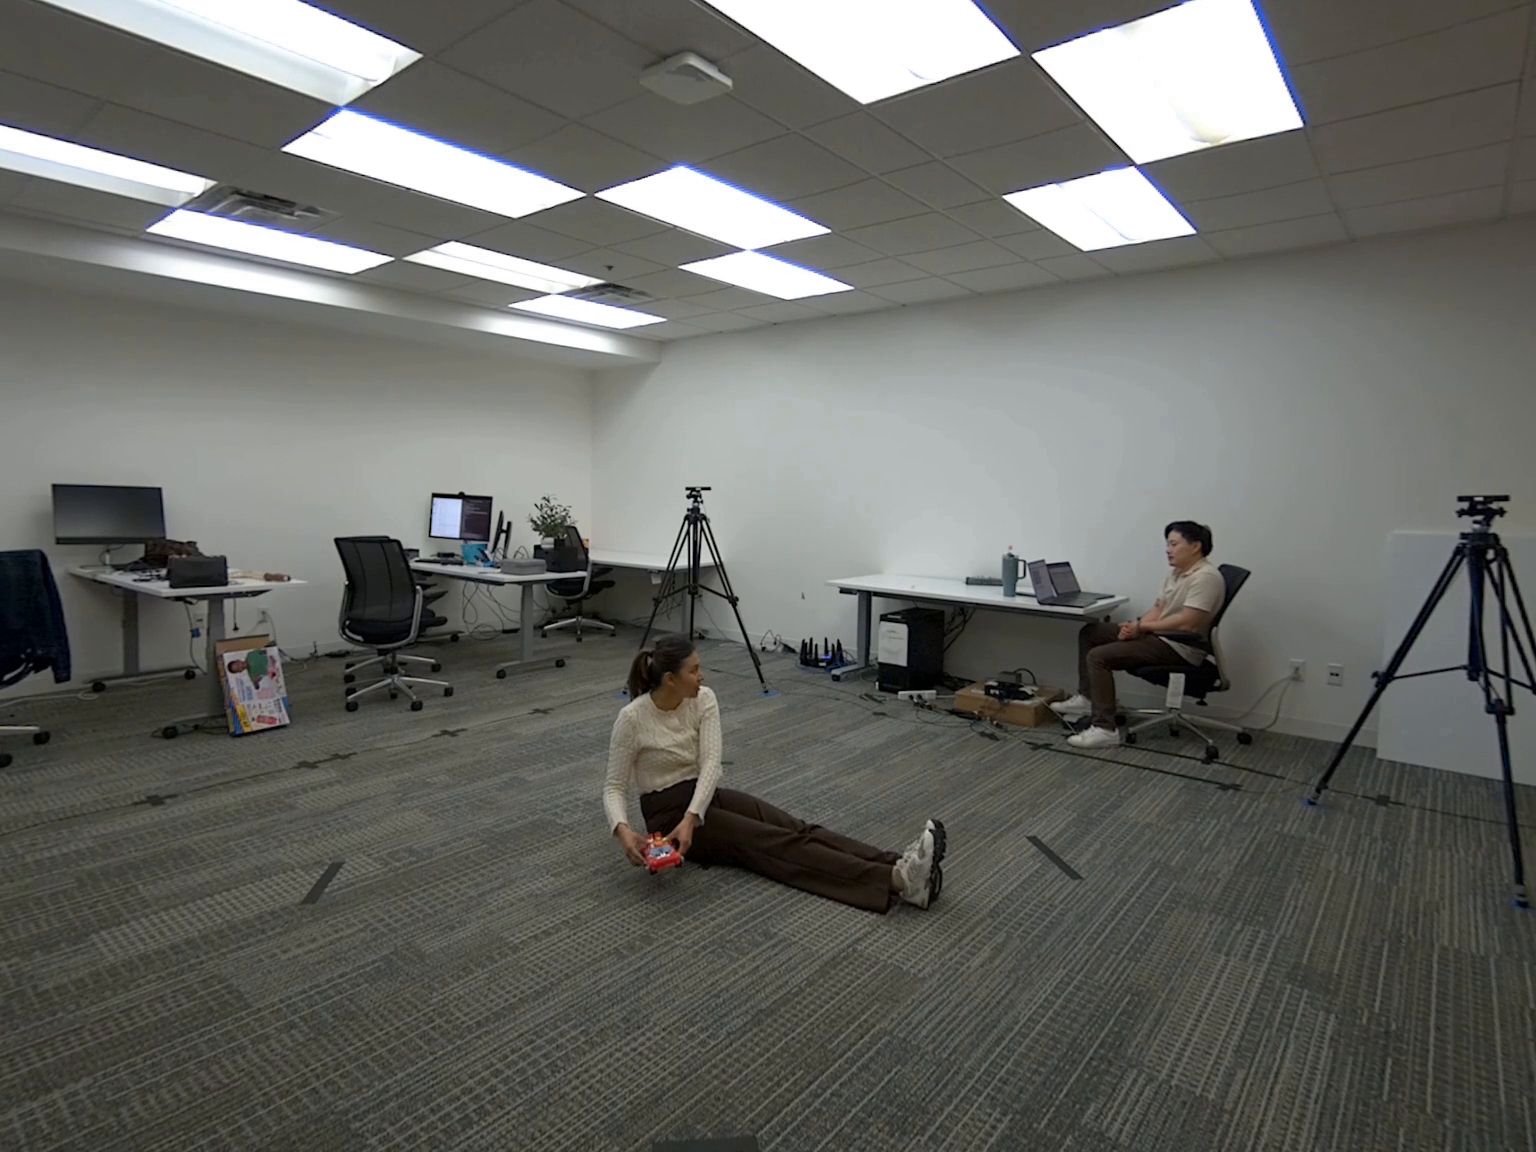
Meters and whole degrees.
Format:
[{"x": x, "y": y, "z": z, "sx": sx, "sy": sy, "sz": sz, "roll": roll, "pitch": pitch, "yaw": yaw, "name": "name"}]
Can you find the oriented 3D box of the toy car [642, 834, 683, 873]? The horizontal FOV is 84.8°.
[{"x": -0.392, "y": 0.955, "z": 2.936, "sx": 0.128, "sy": 0.082, "sz": 0.261, "roll": -9, "pitch": 11, "yaw": -19, "name": "toy car"}]
